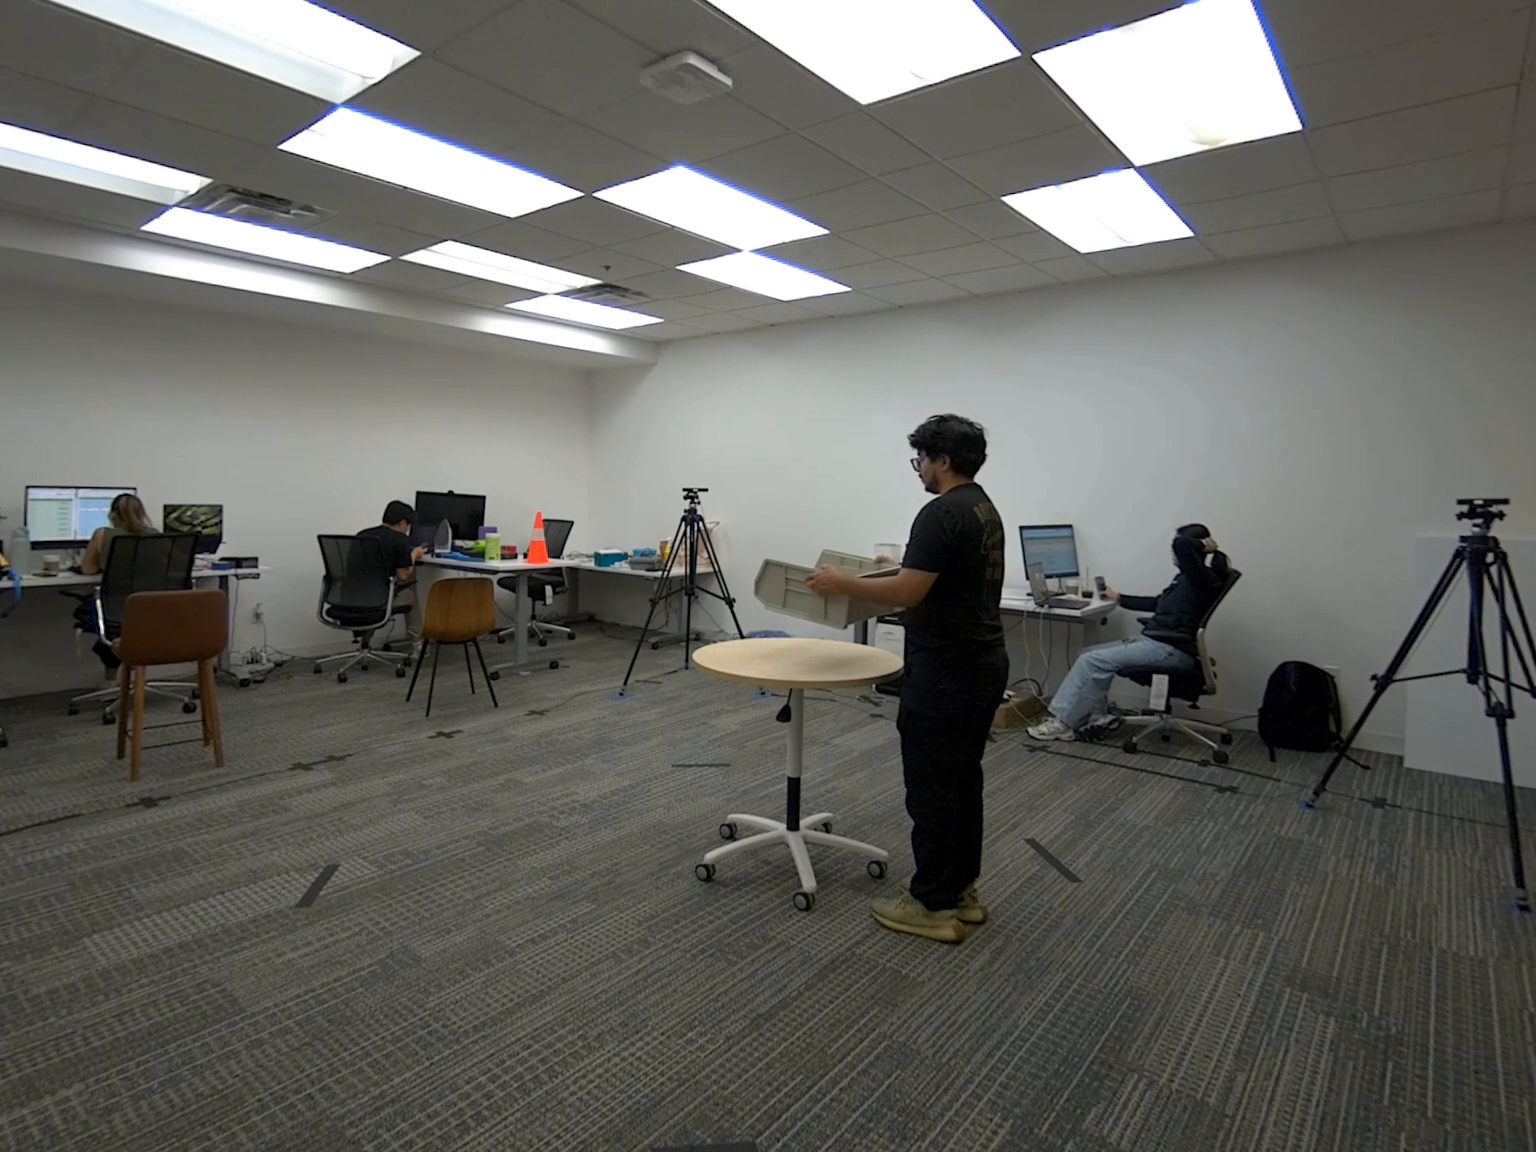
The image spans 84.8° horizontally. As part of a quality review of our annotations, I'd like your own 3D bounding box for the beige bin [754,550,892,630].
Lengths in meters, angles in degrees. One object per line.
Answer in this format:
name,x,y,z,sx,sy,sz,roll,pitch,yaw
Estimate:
beige bin,0.209,0.031,3.042,0.391,0.187,0.411,15,13,33
